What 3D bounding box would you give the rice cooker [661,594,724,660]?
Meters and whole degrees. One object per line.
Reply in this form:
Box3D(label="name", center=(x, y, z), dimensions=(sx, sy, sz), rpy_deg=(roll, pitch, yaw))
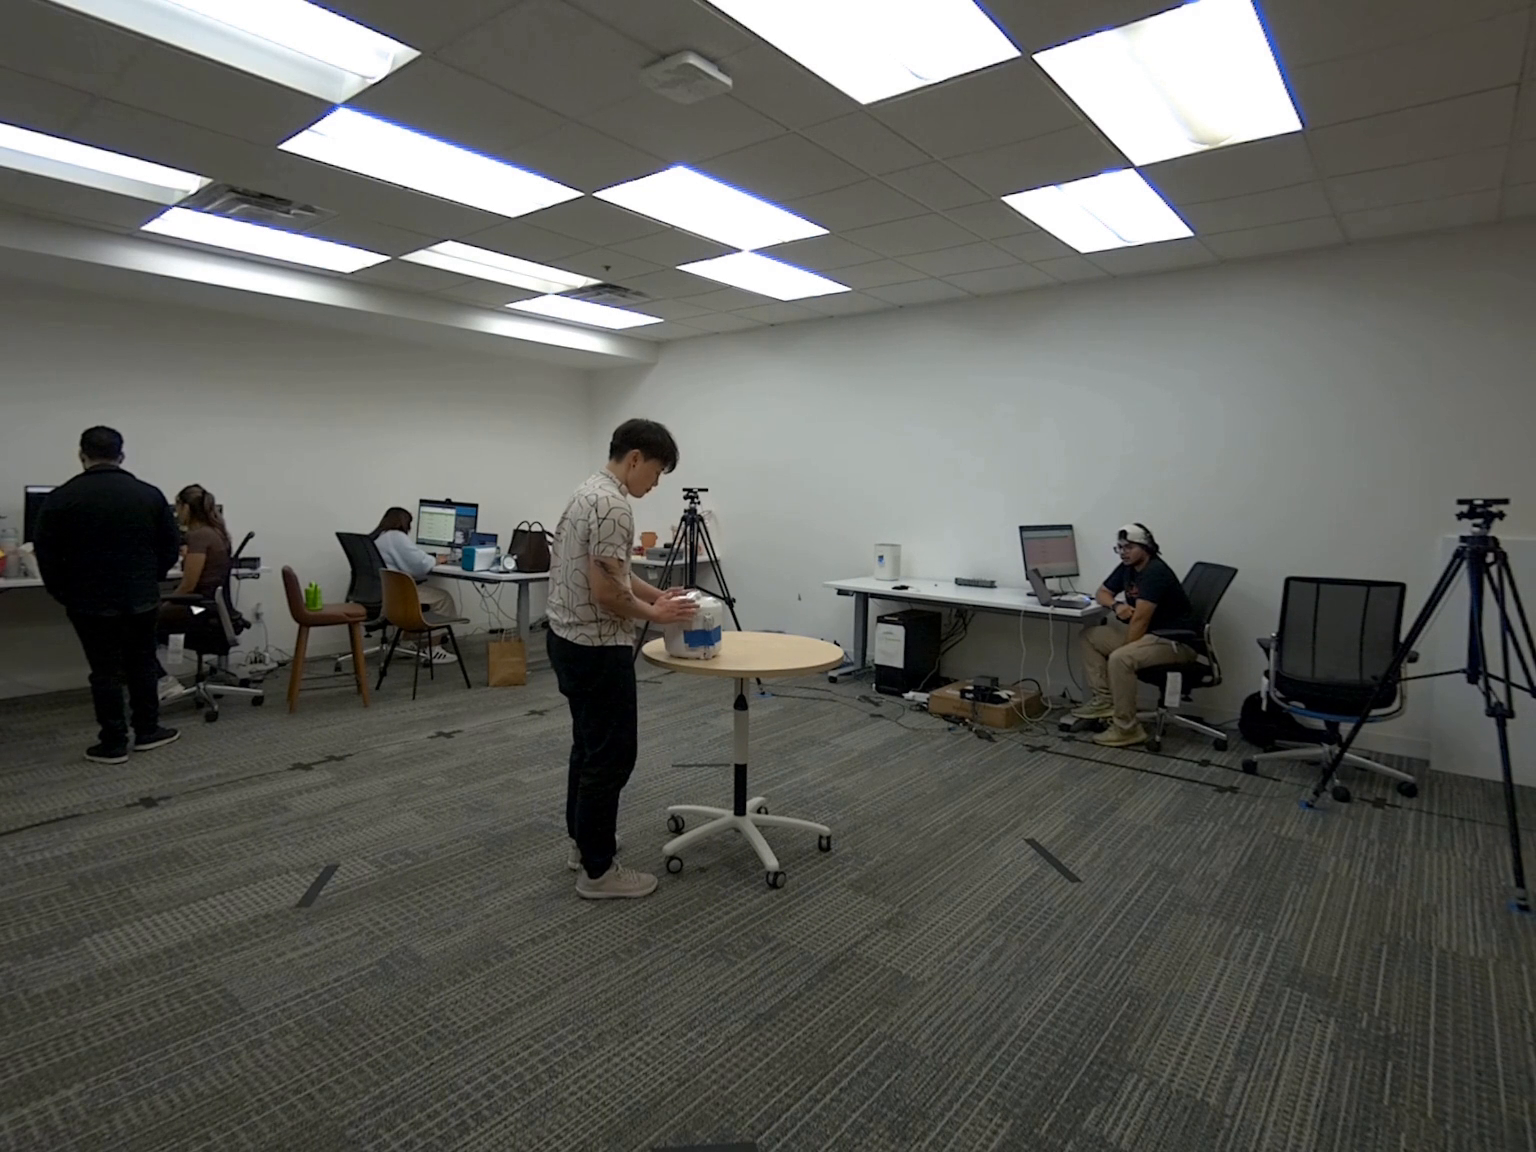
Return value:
Box3D(label="rice cooker", center=(-0.283, 0.172, 3.103), dimensions=(0.221, 0.232, 0.218), rpy_deg=(3, 4, 14))
